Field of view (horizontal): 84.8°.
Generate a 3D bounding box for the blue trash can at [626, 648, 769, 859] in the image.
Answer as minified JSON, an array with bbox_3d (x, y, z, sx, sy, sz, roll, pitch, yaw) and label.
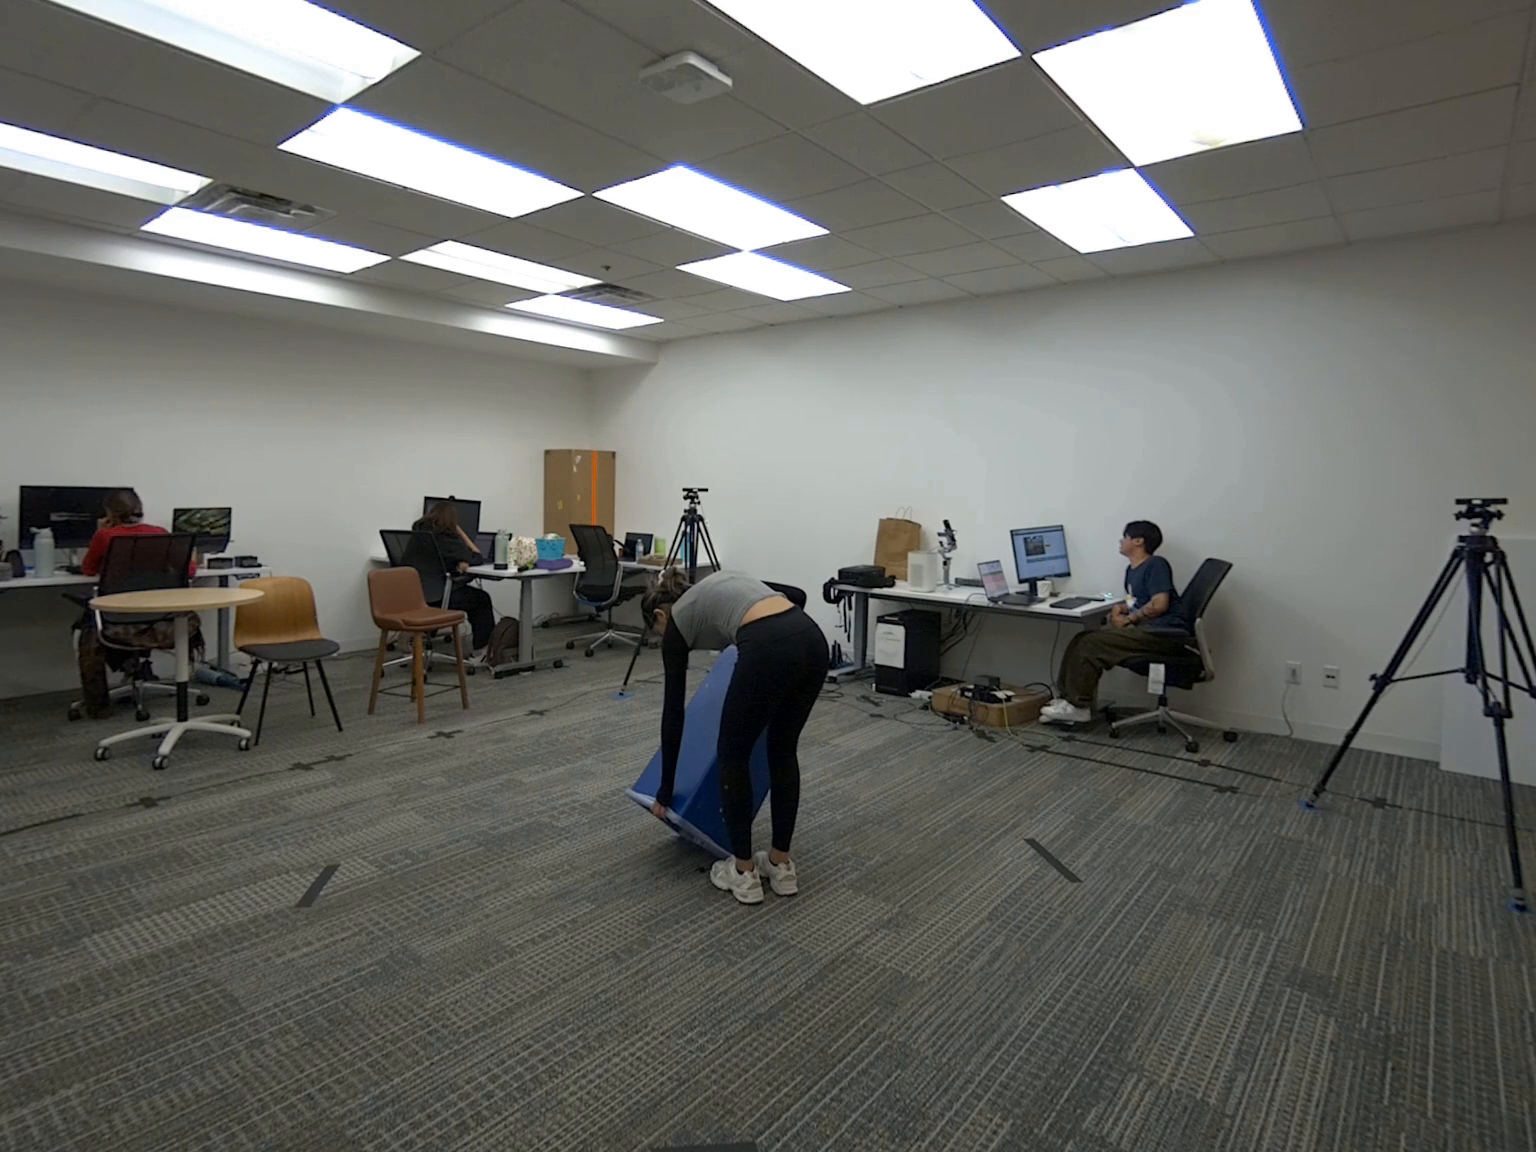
[{"bbox_3d":[-0.180,0.661,3.320,0.391,0.717,0.360,5,-33,50],"label":"blue trash can"}]
